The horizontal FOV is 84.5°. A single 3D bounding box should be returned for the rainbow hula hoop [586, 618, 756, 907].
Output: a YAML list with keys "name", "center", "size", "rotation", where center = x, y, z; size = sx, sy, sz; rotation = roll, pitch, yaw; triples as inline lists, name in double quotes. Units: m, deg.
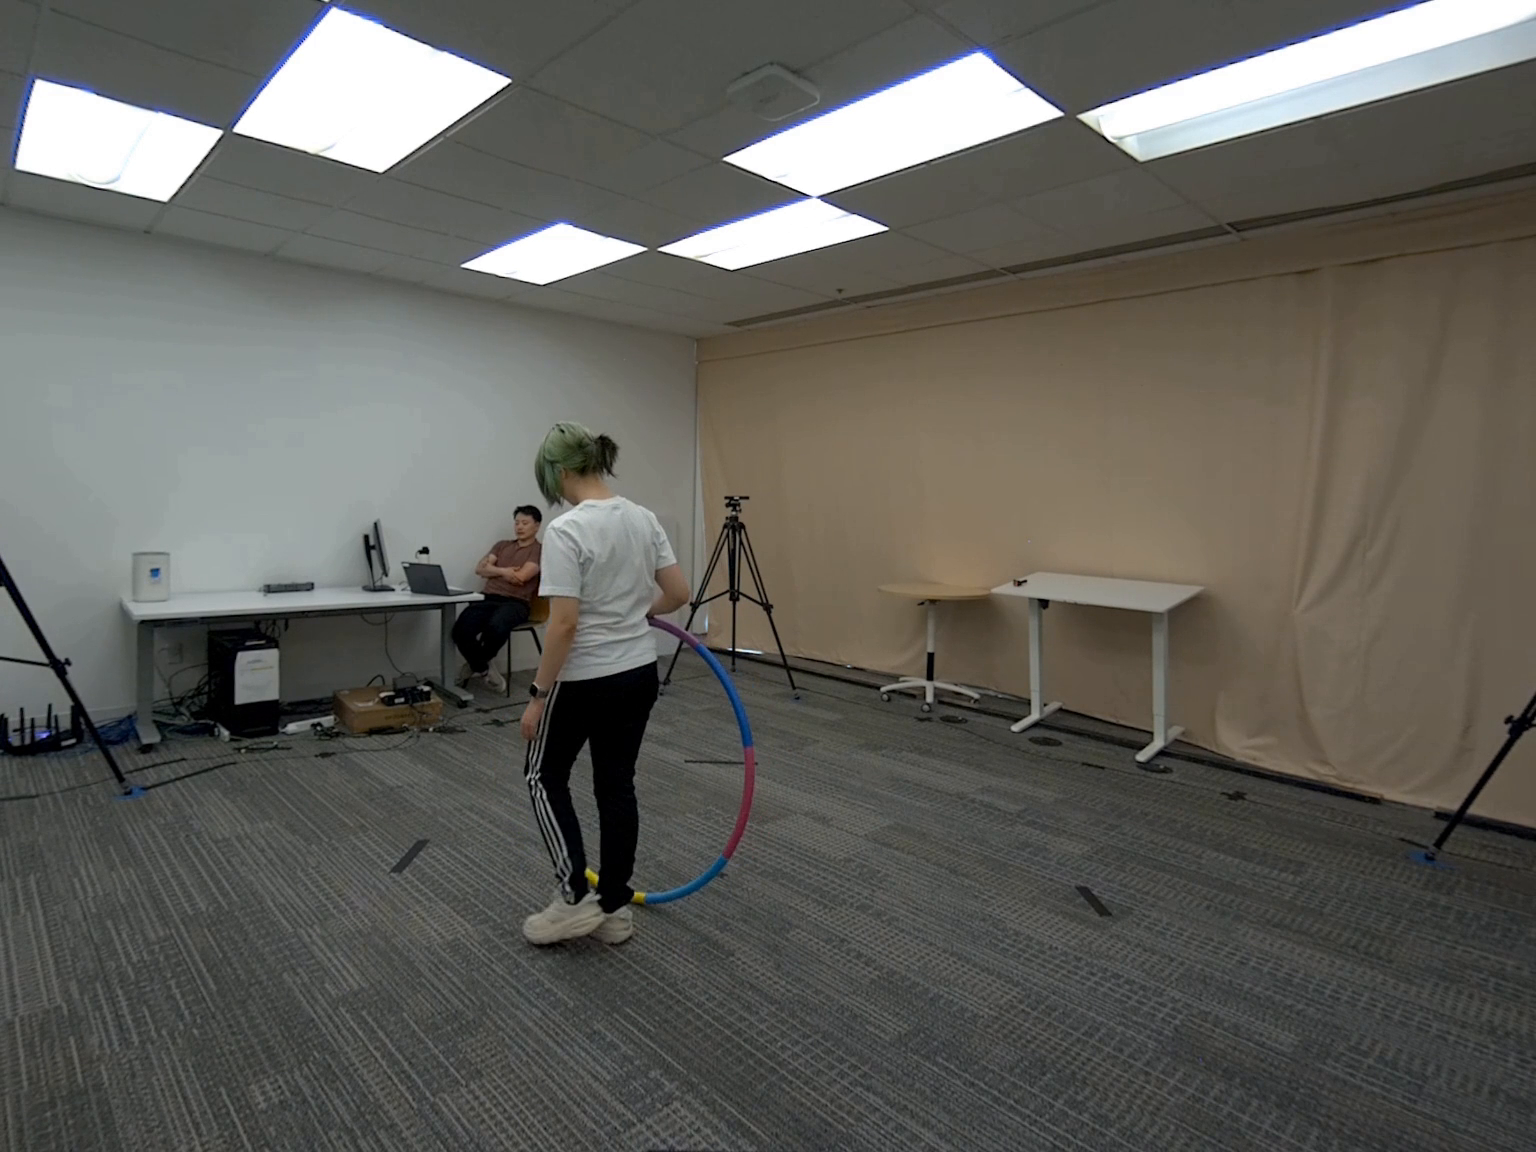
- name: "rainbow hula hoop"
  center: [-0.480, 0.624, 2.931]
  size: [1.001, 0.980, 0.035]
  rotation: [4, -2, 33]
